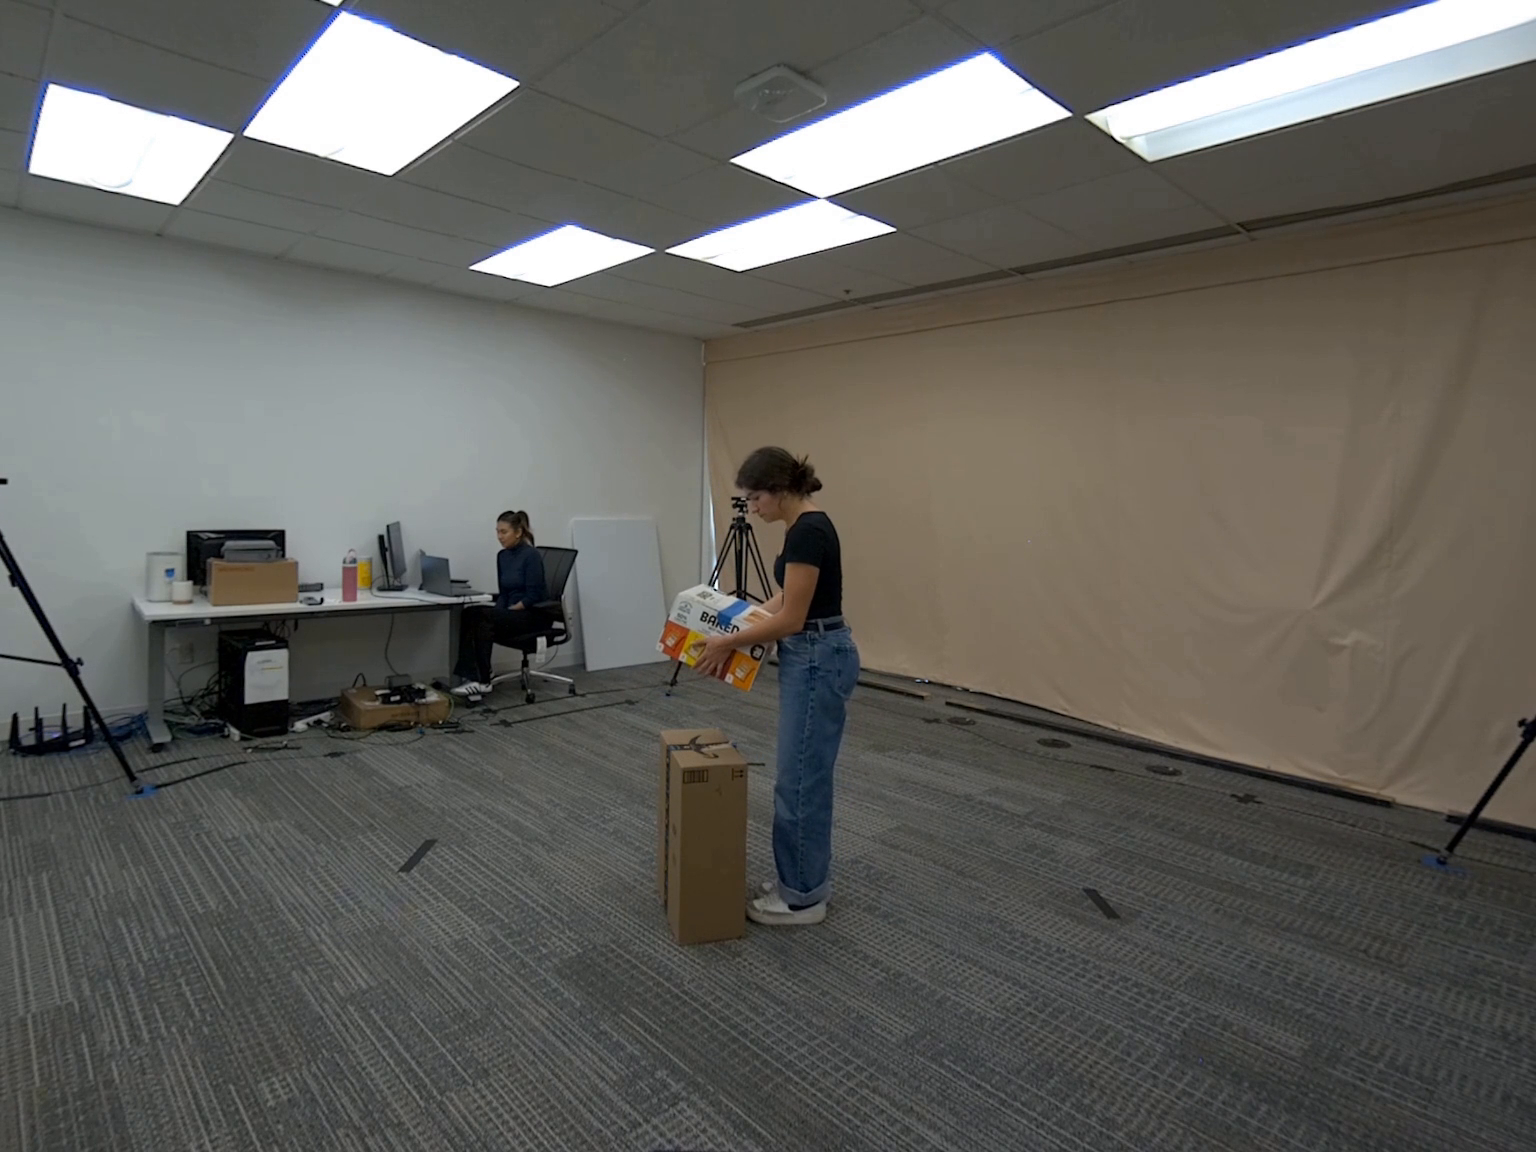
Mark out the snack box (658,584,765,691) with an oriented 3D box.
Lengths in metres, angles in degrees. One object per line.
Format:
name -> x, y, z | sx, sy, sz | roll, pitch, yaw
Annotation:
snack box -> -0.158, 0.204, 2.927 | 0.343, 0.205, 0.403 | 24, 7, 6
